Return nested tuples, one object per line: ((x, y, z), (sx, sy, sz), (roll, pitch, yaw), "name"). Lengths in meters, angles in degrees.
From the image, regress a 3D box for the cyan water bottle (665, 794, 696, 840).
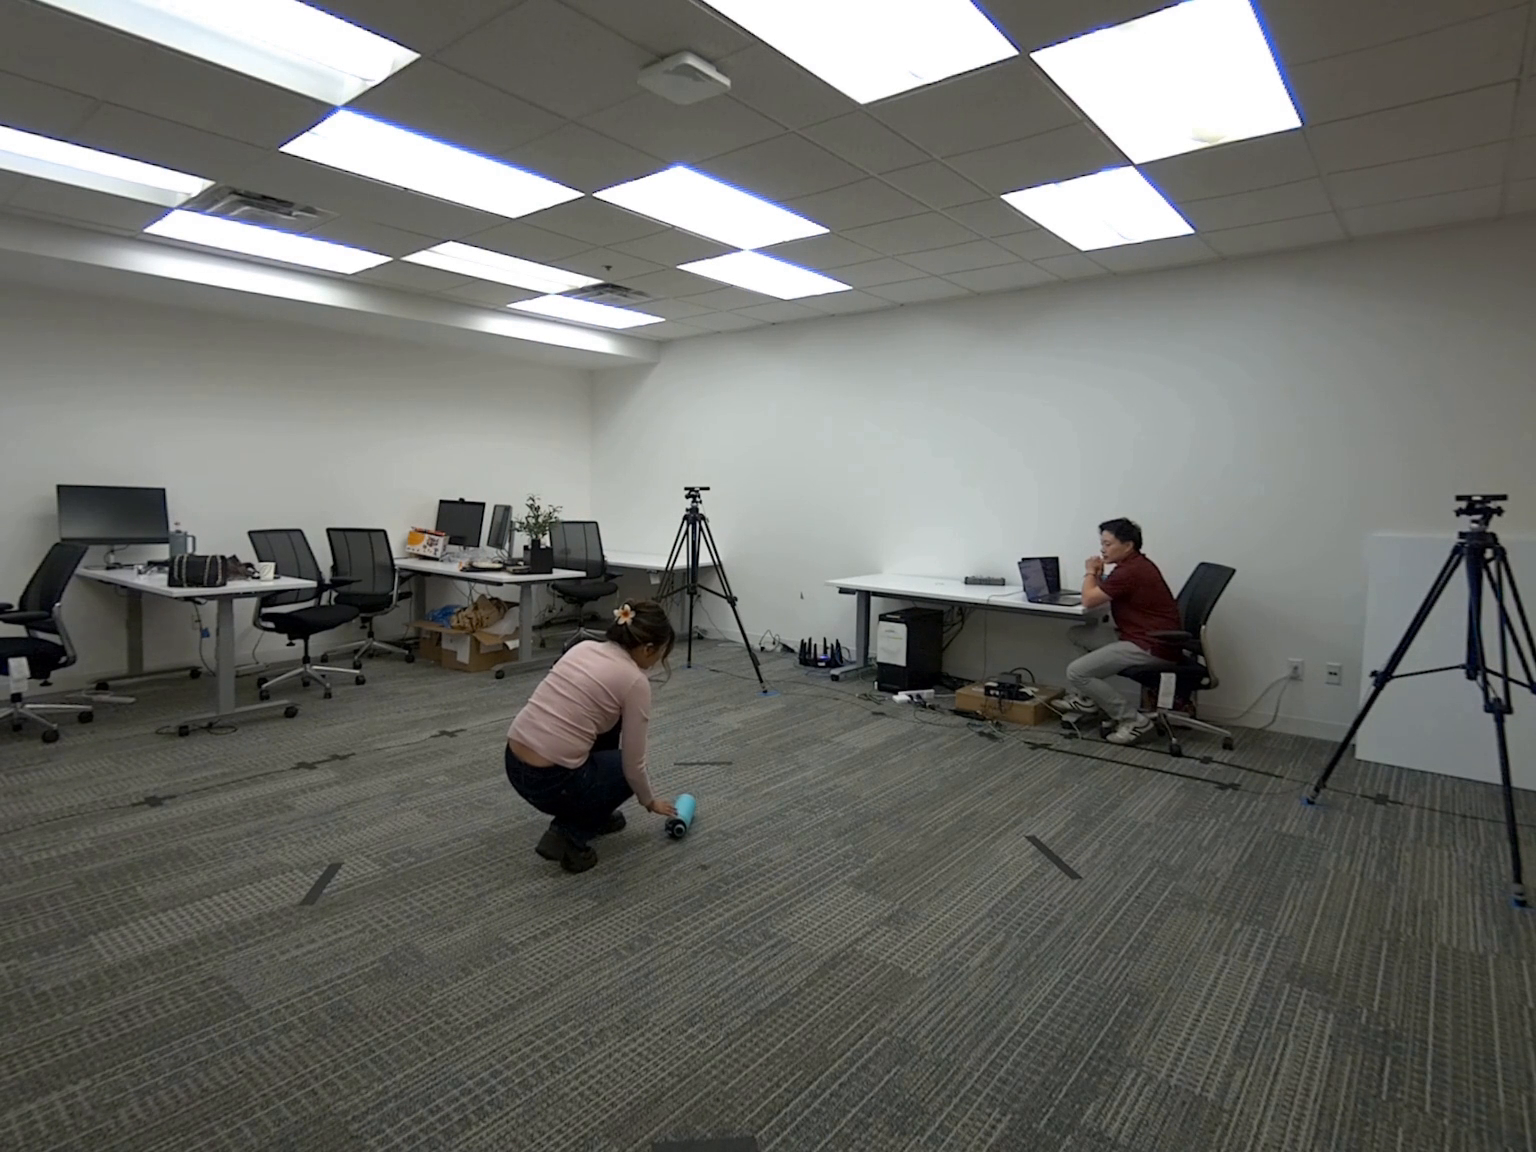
((-0.370, 0.989, 3.482), (0.093, 0.092, 0.284), (1, 7, 2), "cyan water bottle")
